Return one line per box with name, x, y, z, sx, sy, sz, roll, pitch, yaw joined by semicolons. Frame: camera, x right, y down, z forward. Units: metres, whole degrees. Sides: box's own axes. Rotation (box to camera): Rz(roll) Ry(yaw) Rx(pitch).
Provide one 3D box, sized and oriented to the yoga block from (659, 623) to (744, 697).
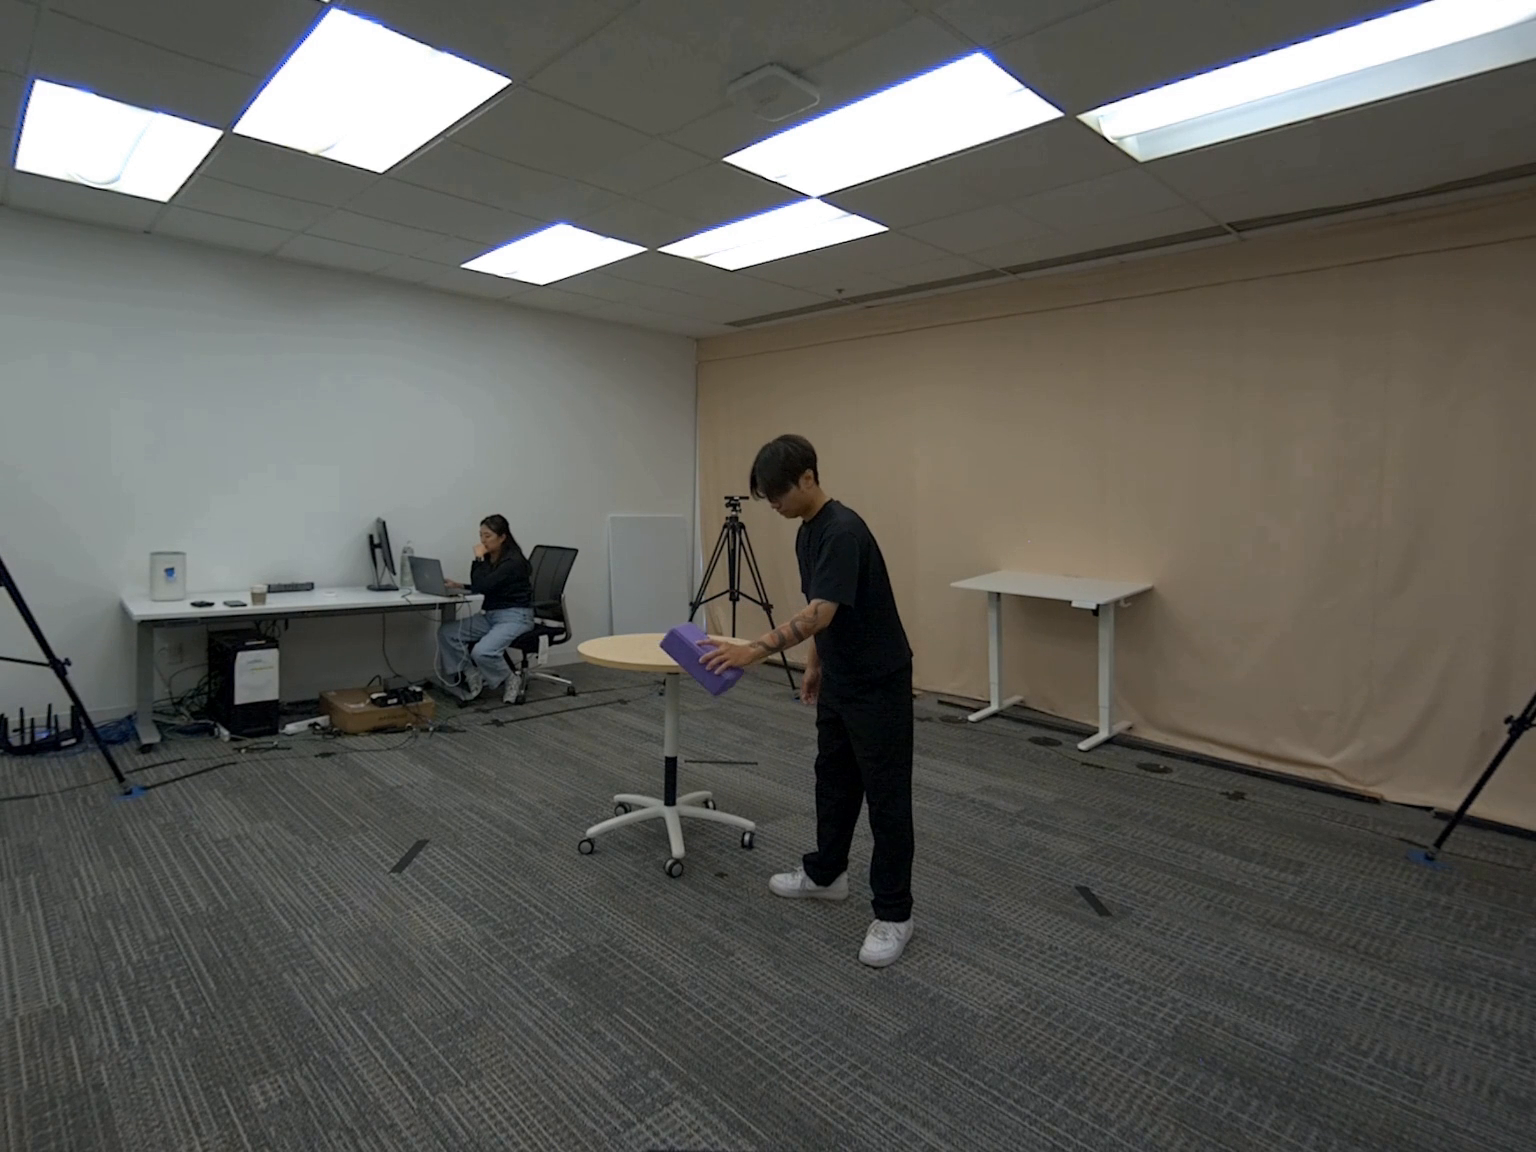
yoga block;-0.192;0.247;2.470;0.233;0.076;0.147;40;15;13
